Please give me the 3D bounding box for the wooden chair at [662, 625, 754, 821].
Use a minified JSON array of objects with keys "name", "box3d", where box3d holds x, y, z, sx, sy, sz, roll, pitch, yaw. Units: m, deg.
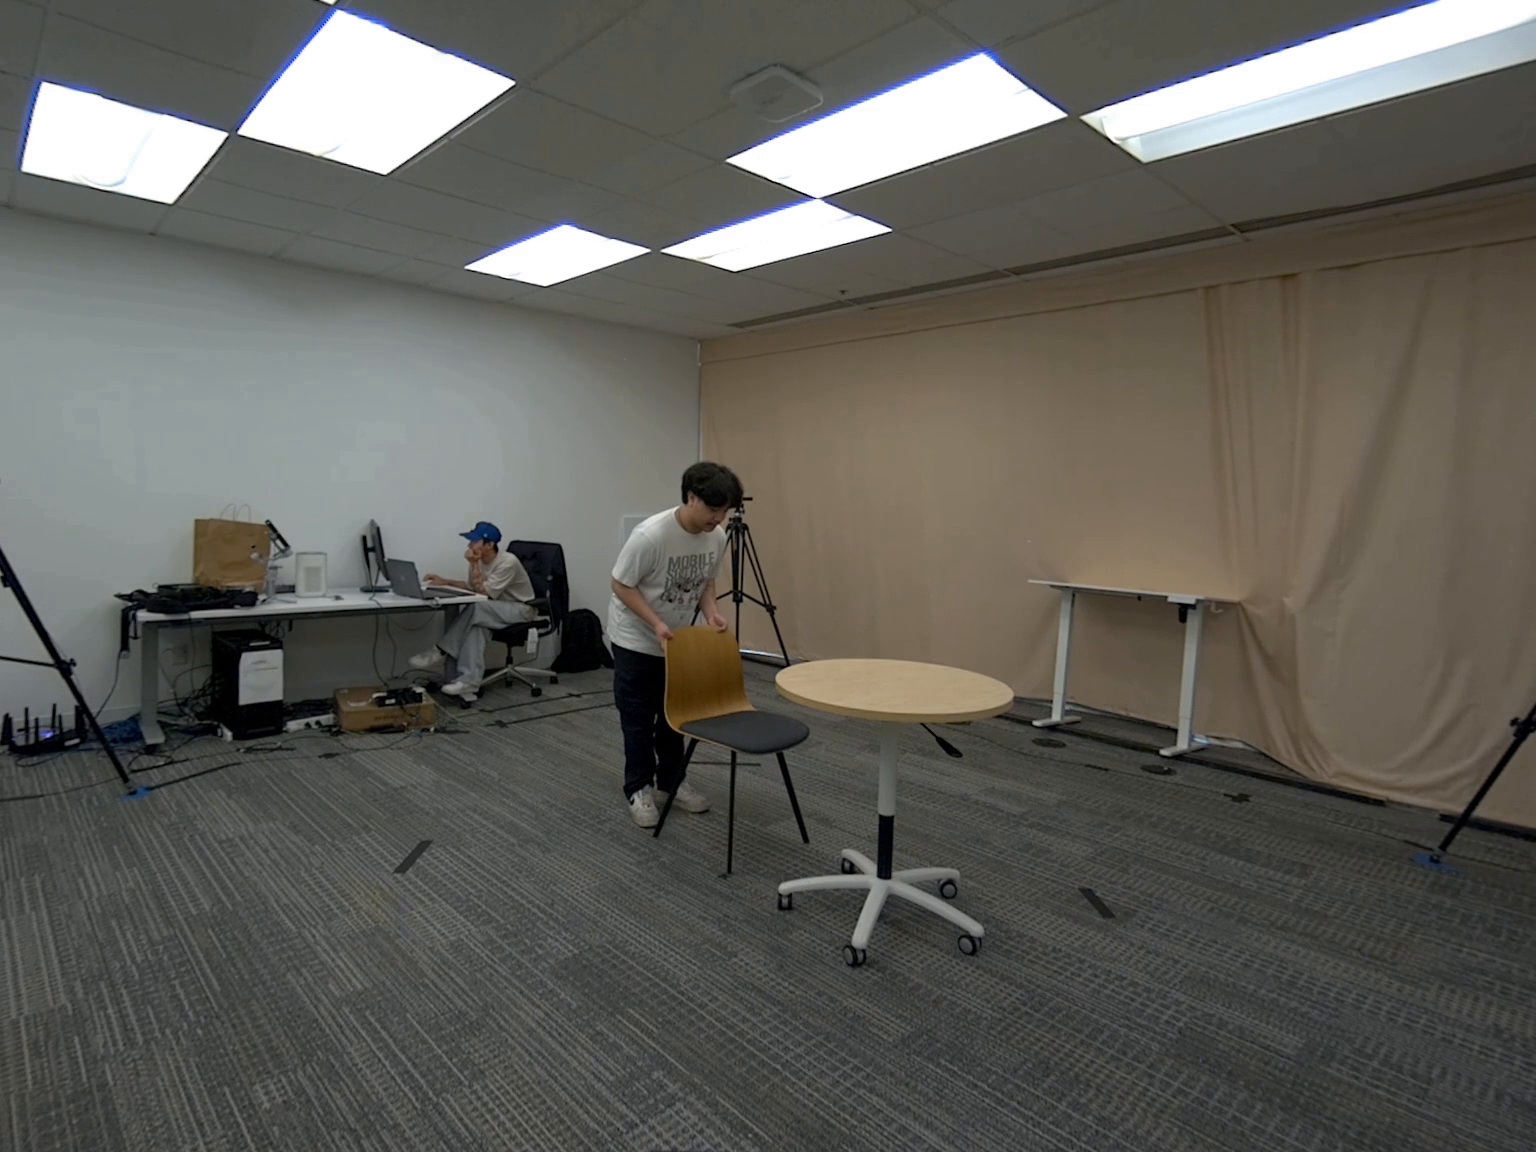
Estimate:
[{"name":"wooden chair","box3d":[-0.137,0.655,3.392,0.467,0.877,0.535,-1,0,-45]}]
